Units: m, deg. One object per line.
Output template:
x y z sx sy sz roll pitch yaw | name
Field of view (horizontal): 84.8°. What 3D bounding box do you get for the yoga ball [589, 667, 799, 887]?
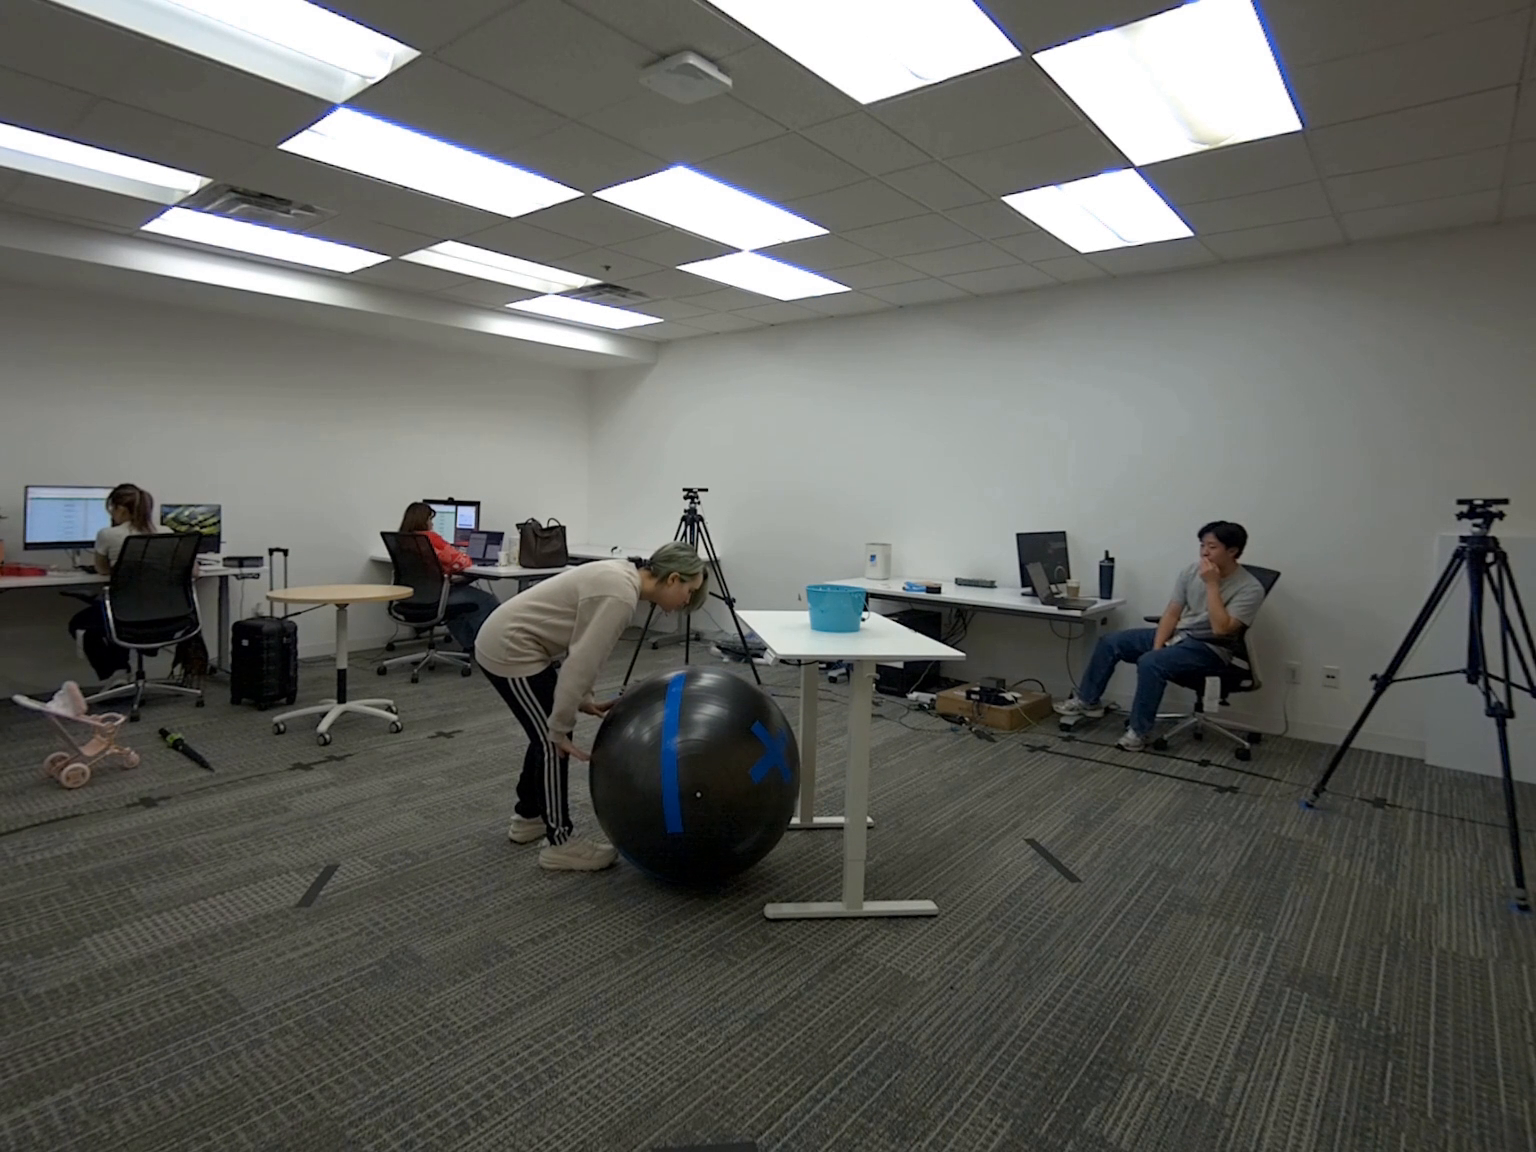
-0.267 0.705 3.063 0.757 0.755 0.762 1 4 -2 | yoga ball
